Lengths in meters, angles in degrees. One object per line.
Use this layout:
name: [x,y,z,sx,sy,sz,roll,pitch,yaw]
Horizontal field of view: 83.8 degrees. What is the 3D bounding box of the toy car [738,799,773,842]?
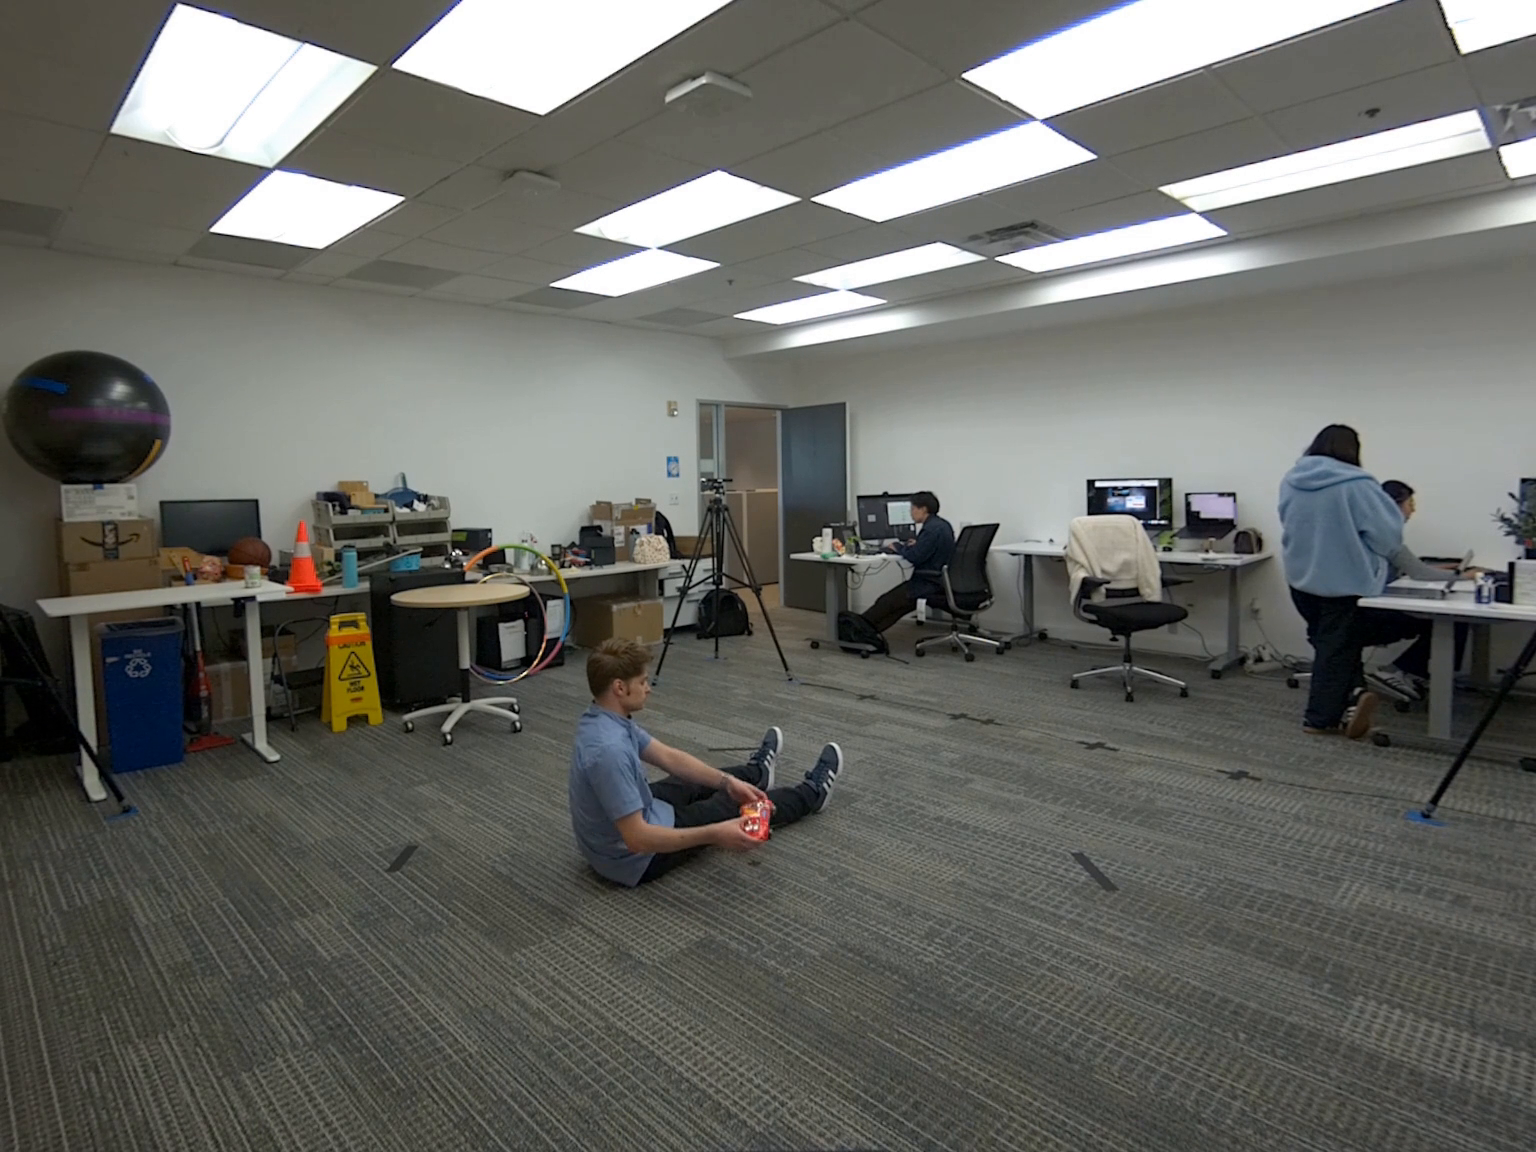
toy car: [-0.055,0.848,2.942,0.131,0.083,0.253,-7,6,9]
